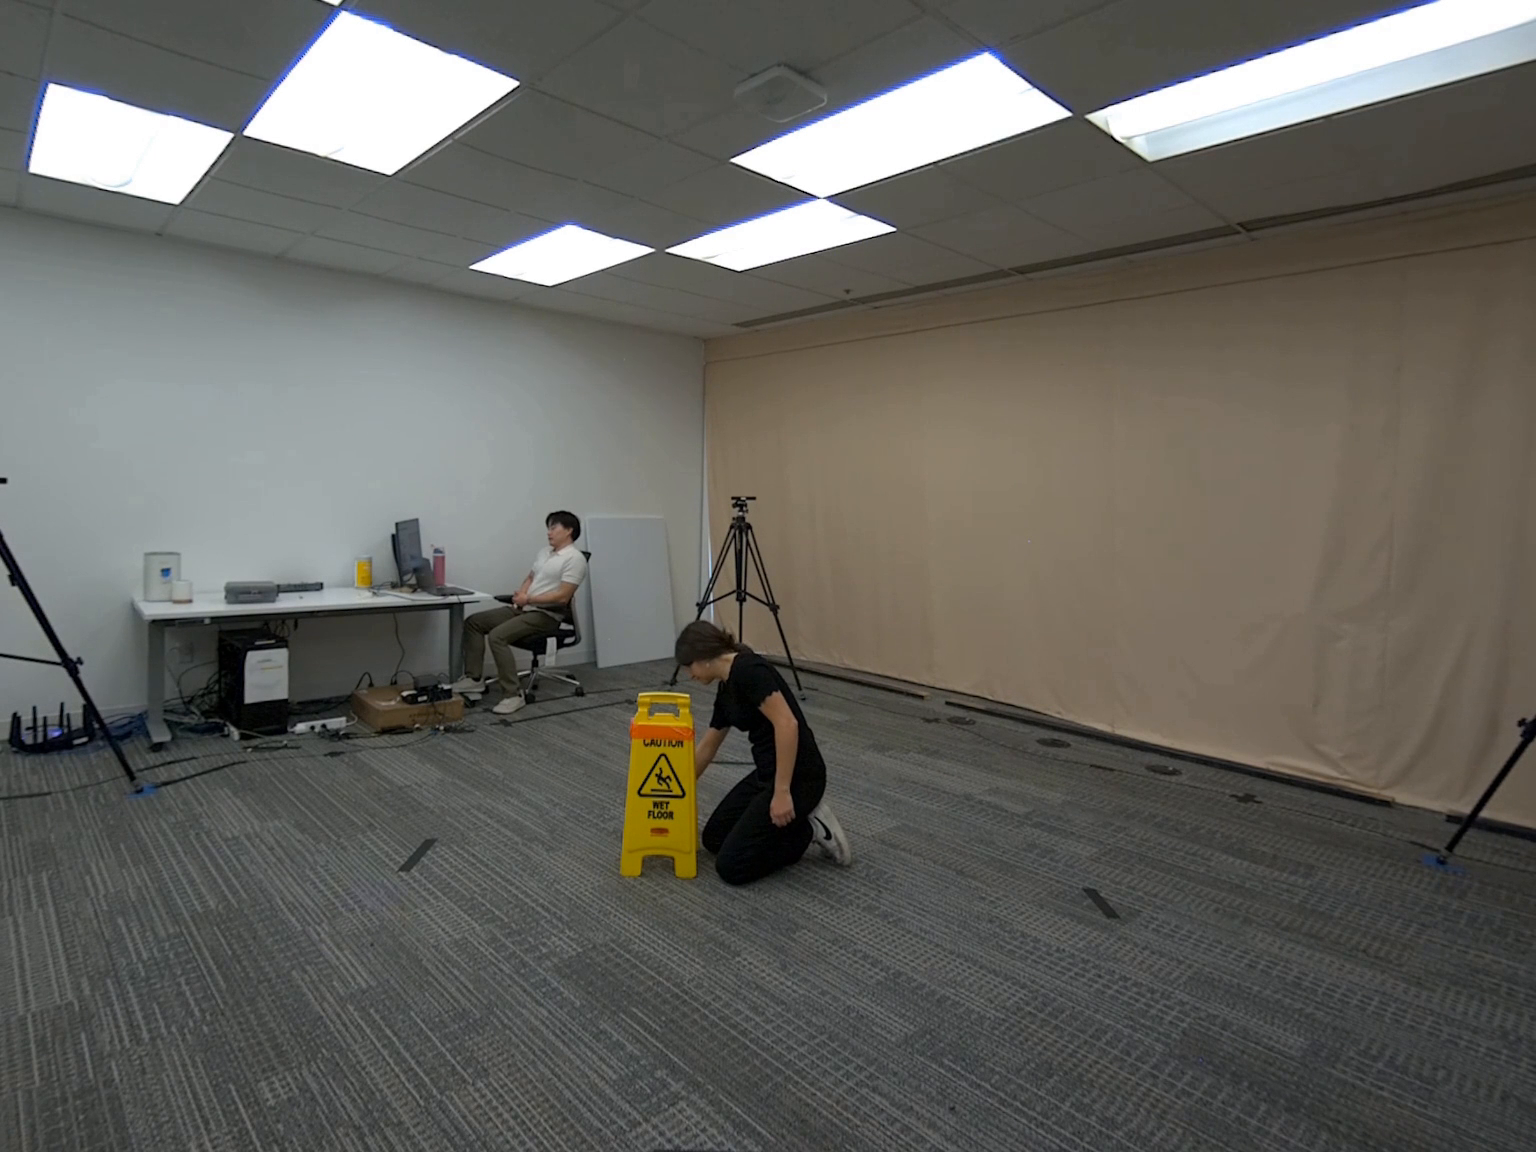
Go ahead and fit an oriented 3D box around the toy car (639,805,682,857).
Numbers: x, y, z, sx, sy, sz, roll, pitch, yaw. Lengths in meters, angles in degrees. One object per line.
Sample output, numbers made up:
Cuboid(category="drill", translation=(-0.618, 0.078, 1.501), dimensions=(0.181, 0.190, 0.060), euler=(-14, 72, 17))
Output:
Cuboid(category="toy car", translation=(-0.438, 1.036, 3.463), dimensions=(0.131, 0.082, 0.255), euler=(2, 10, 2))
